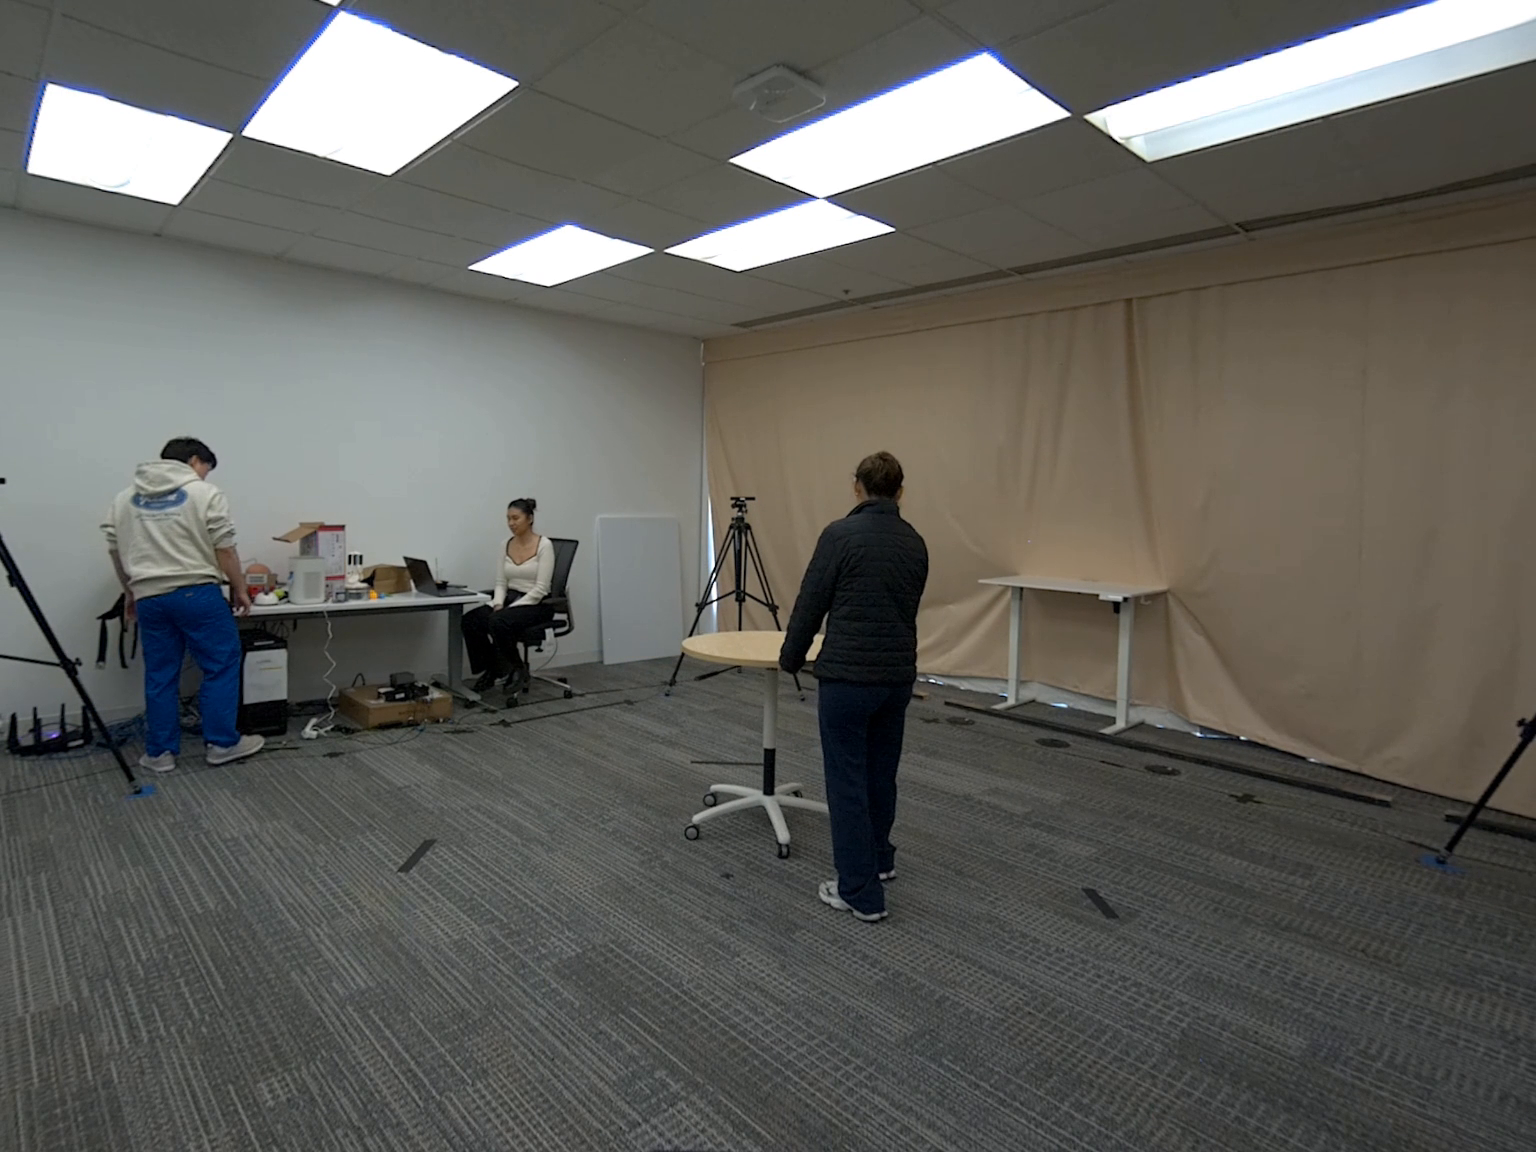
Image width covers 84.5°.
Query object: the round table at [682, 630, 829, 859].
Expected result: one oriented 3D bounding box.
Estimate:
[{"bbox_3d":[-0.003,0.679,3.546,0.784,0.784,0.787,1,4,-1],"label":"round table"}]
